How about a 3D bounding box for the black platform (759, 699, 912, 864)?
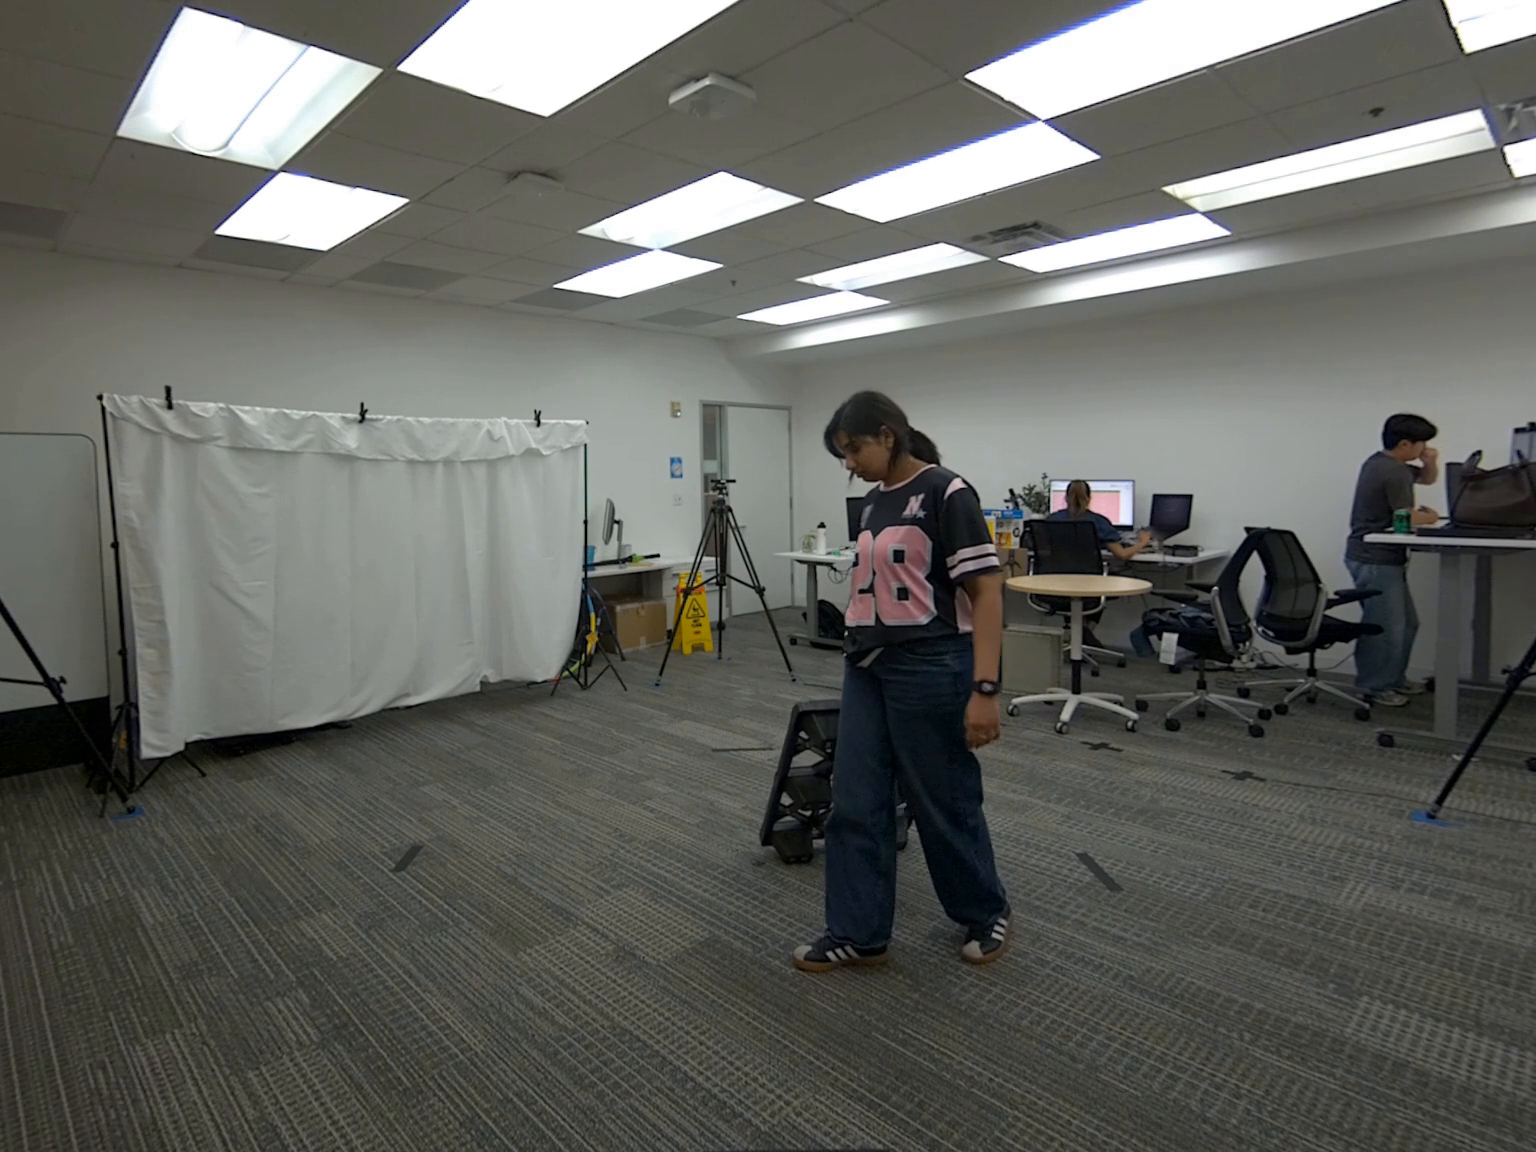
[{"bbox_3d":[0.335,0.726,2.968,0.598,0.788,0.148,-2,41,-14],"label":"black platform"}]
